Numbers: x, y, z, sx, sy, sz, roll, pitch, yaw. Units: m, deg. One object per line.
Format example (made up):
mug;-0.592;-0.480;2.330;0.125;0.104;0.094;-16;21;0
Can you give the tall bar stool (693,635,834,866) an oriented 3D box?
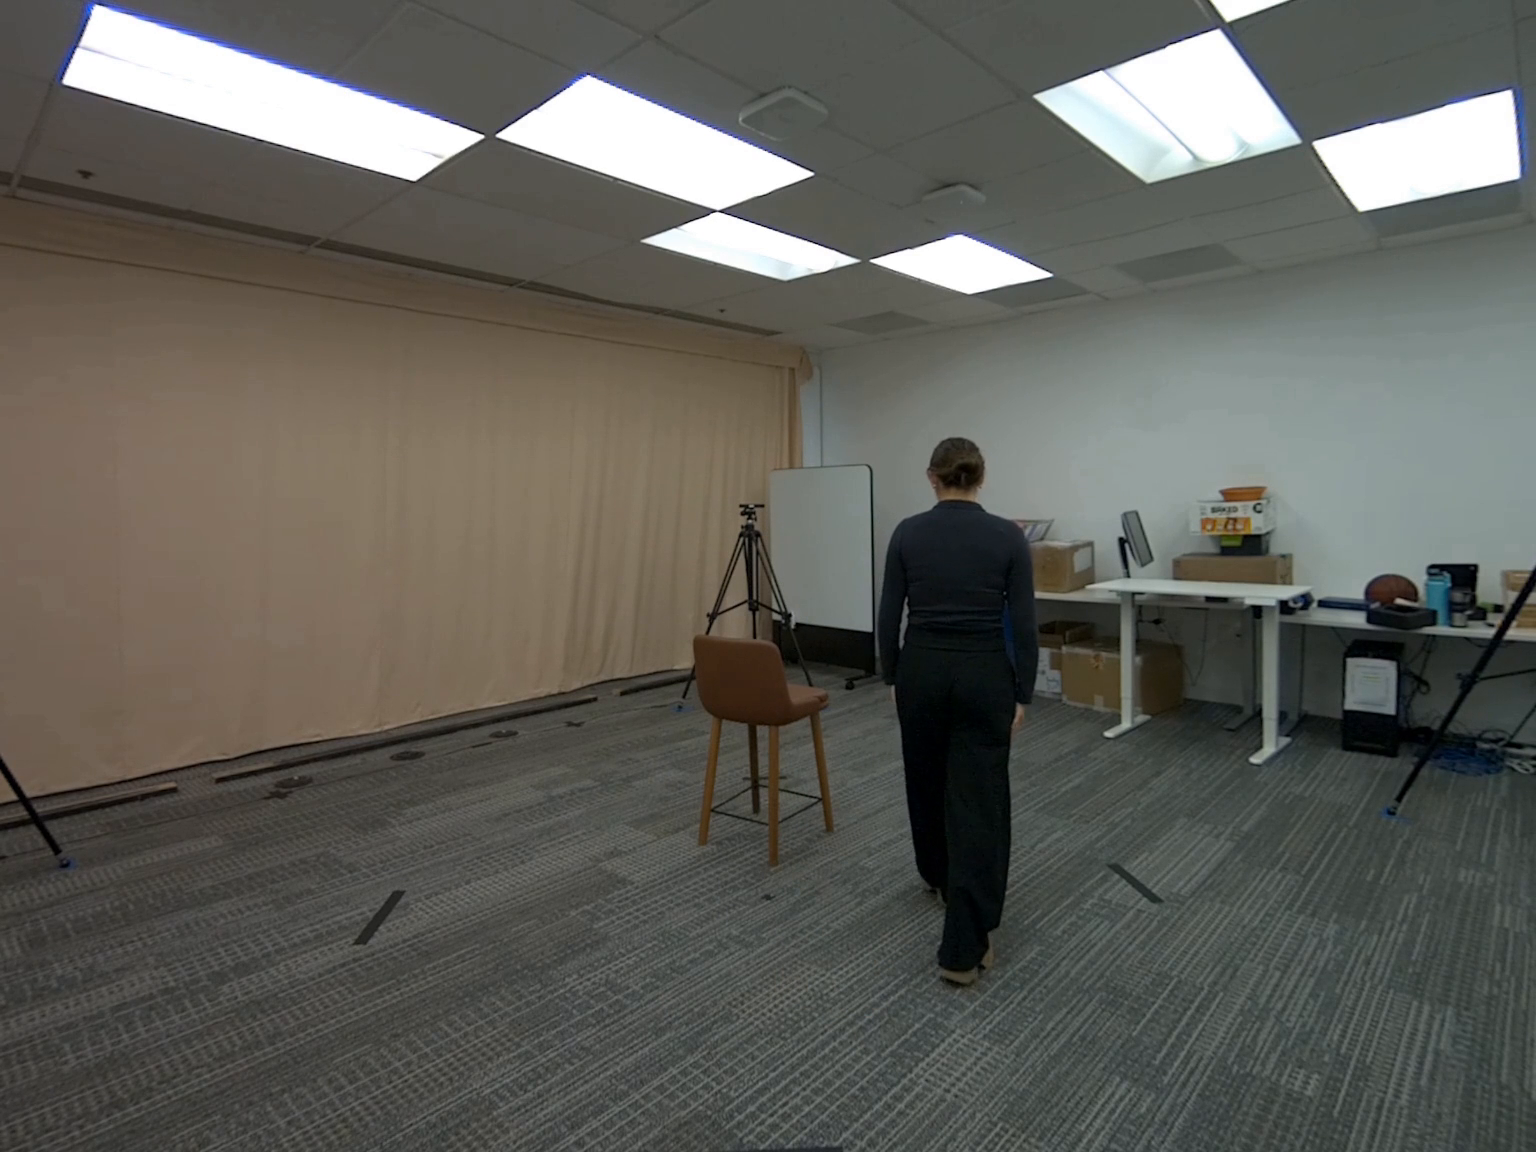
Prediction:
tall bar stool;-0.018;0.660;3.504;0.471;0.887;0.454;1;5;35
